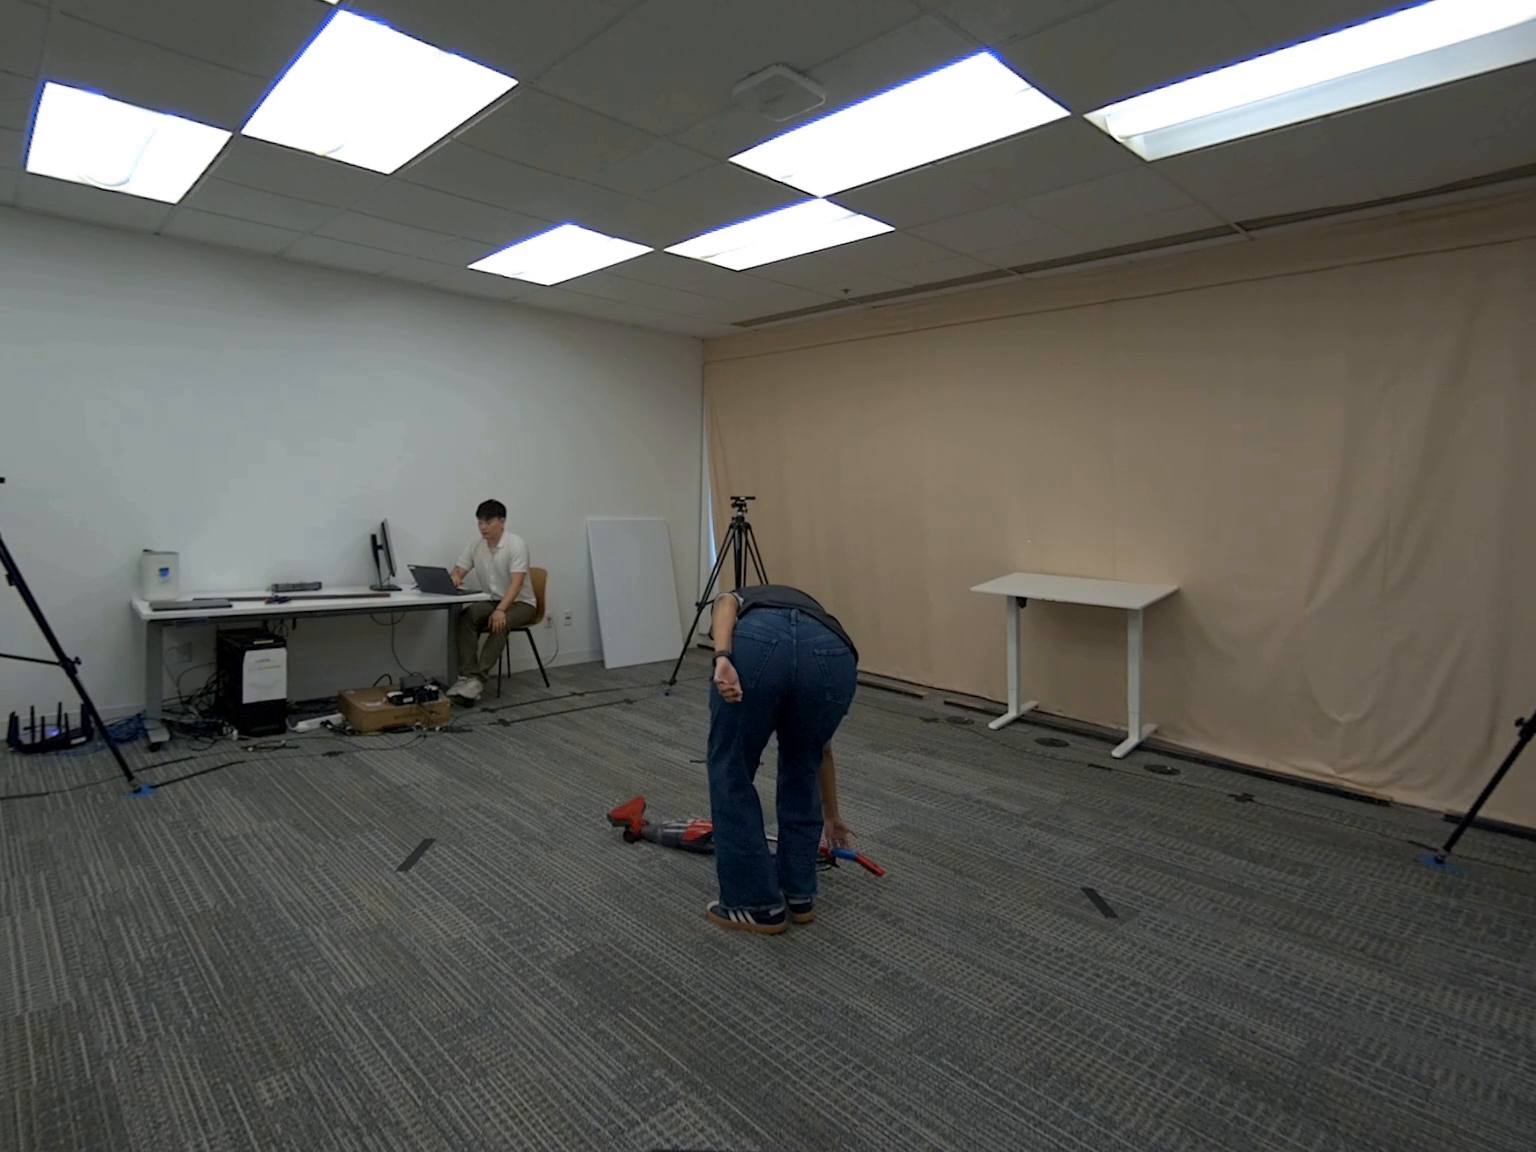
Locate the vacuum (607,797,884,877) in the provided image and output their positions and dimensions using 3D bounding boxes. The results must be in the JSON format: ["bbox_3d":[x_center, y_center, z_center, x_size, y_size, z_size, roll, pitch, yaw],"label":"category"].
[{"bbox_3d":[-0.087,1.031,3.217,1.069,0.143,0.248,4,5,24],"label":"vacuum"}]
